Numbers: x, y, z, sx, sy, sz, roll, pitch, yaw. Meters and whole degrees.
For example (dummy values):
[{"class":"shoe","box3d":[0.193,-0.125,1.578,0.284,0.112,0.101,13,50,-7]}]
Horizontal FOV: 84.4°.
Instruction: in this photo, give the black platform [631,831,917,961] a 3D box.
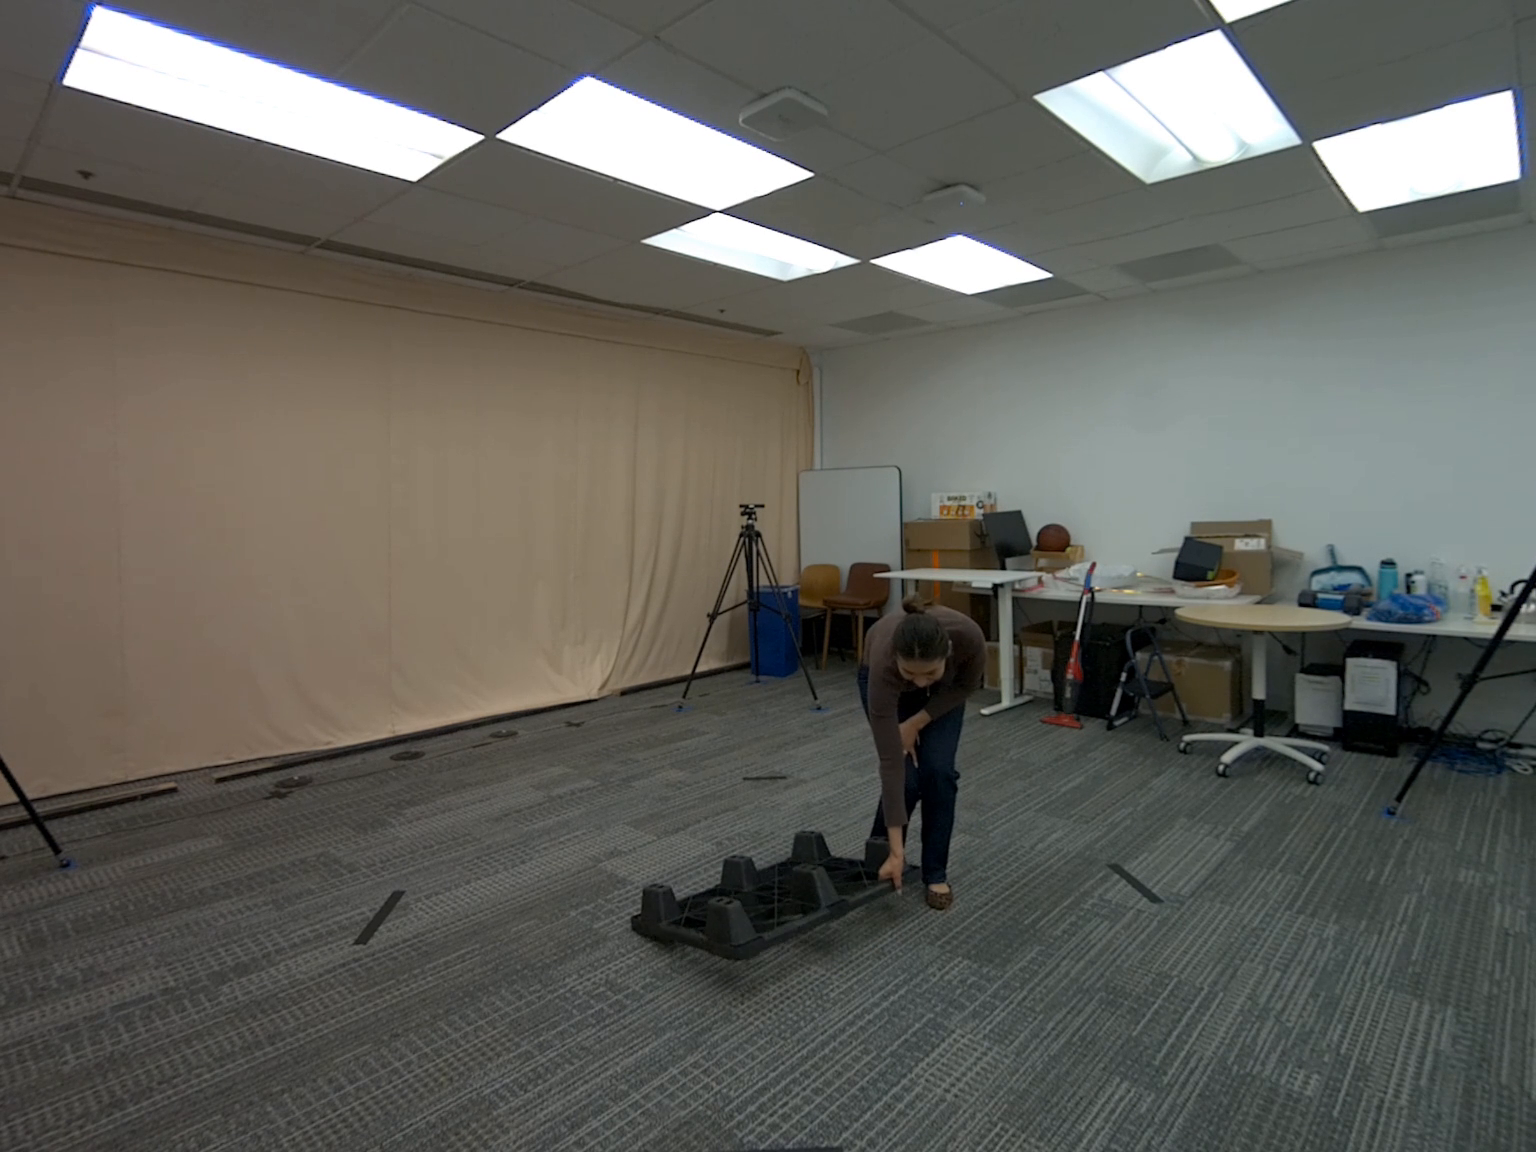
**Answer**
[{"class":"black platform","box3d":[0.024,1.026,2.801,0.782,0.144,0.620,-5,-6,-39]}]
